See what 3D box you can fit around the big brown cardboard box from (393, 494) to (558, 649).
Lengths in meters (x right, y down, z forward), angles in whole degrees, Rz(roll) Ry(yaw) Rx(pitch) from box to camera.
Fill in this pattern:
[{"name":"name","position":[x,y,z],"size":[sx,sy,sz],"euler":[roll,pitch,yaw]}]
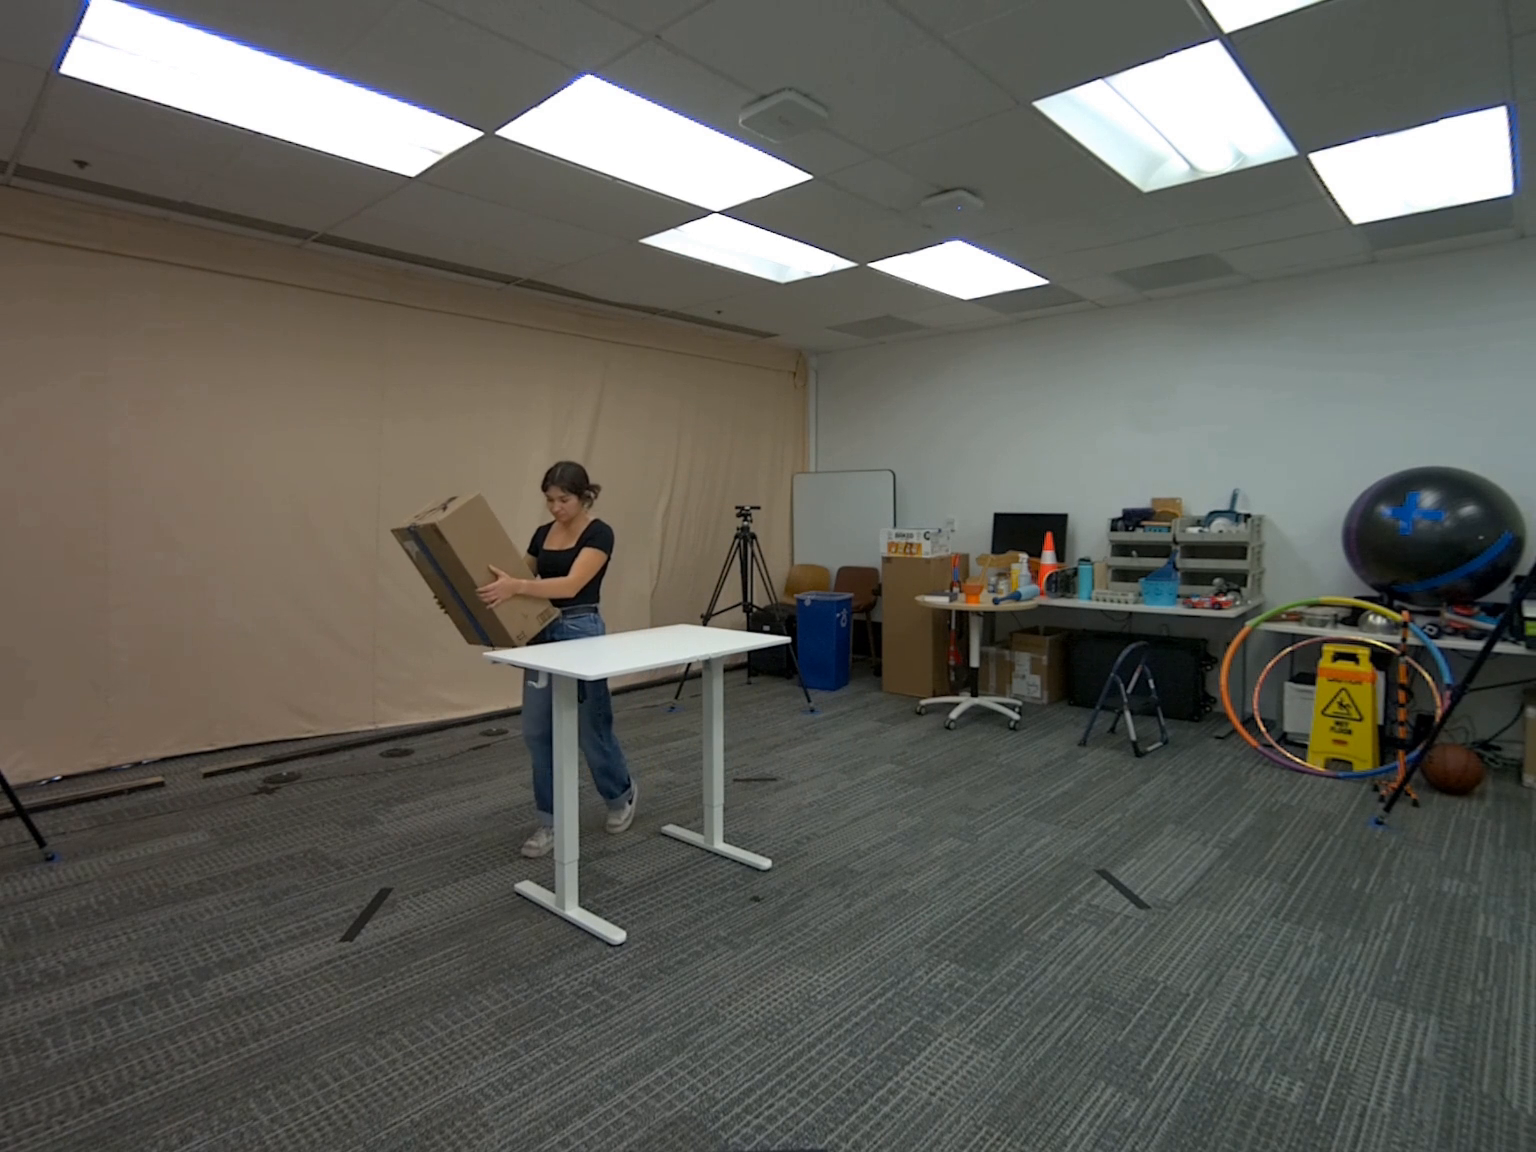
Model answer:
[{"name":"big brown cardboard box","position":[-1.140,-0.019,3.258],"size":[0.430,0.577,0.231],"euler":[-5,31,46]}]
